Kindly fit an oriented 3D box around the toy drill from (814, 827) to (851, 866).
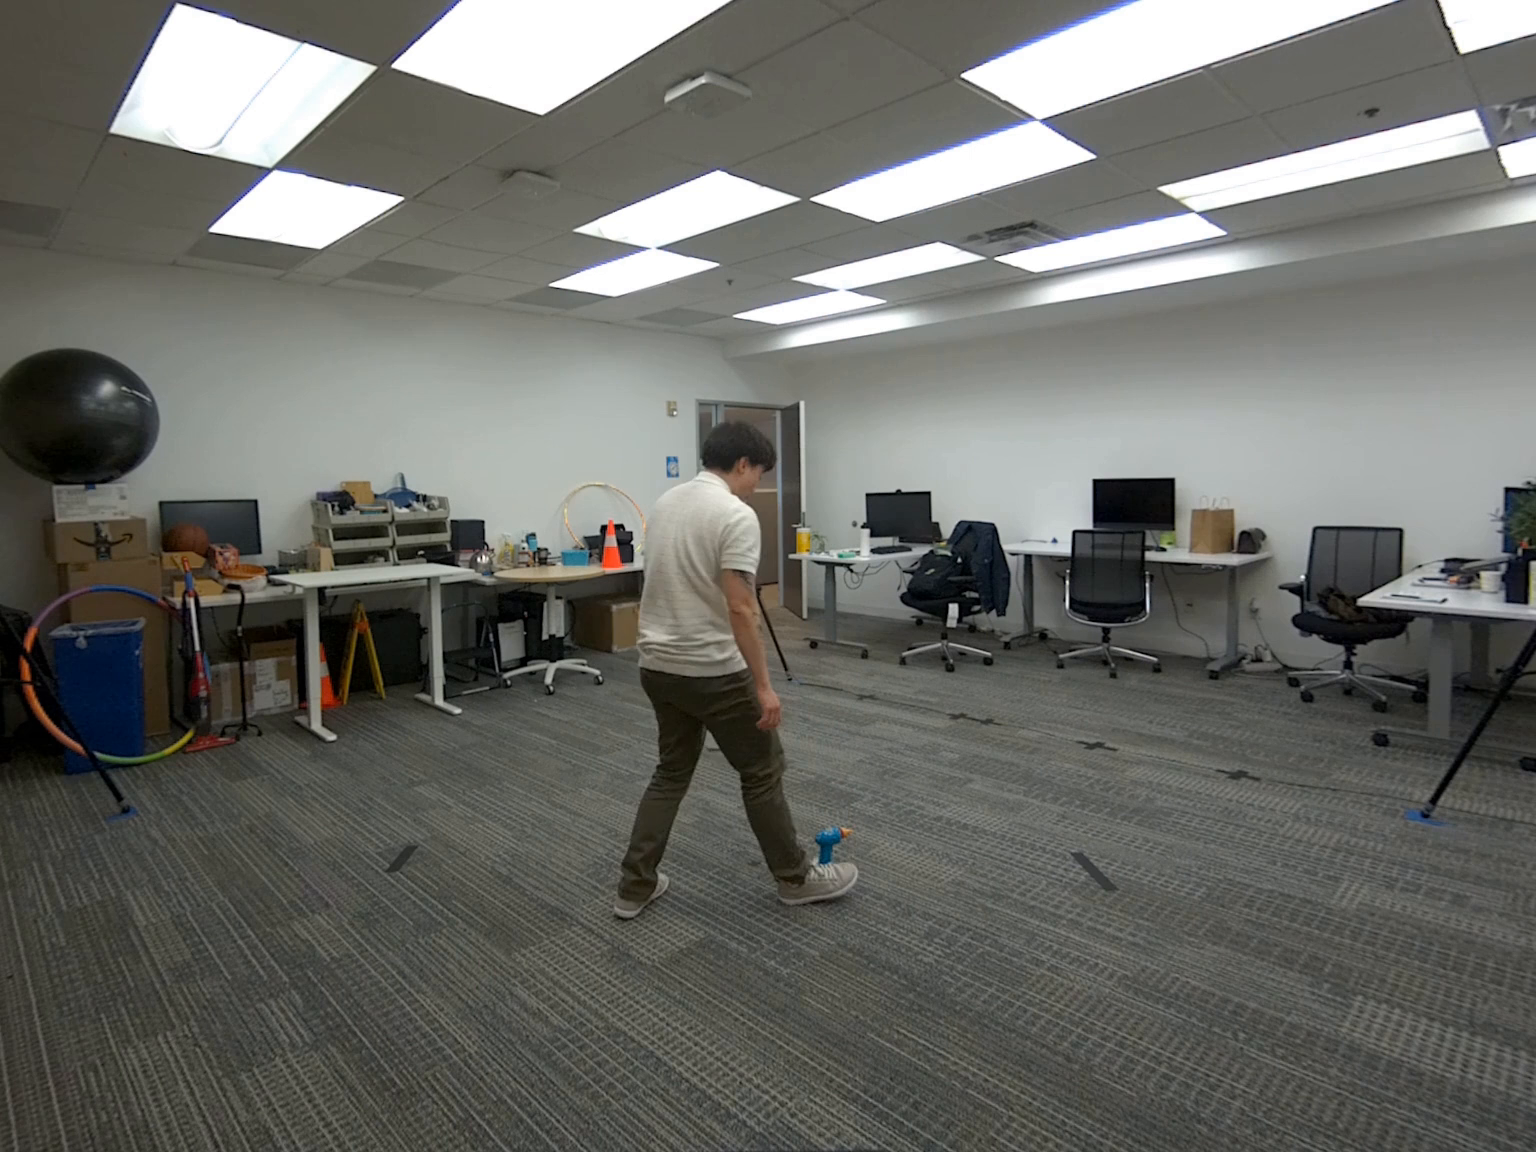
[{"bbox_3d":[0.242,0.969,3.067,0.165,0.146,0.063,-2,3,-34],"label":"toy drill"}]
